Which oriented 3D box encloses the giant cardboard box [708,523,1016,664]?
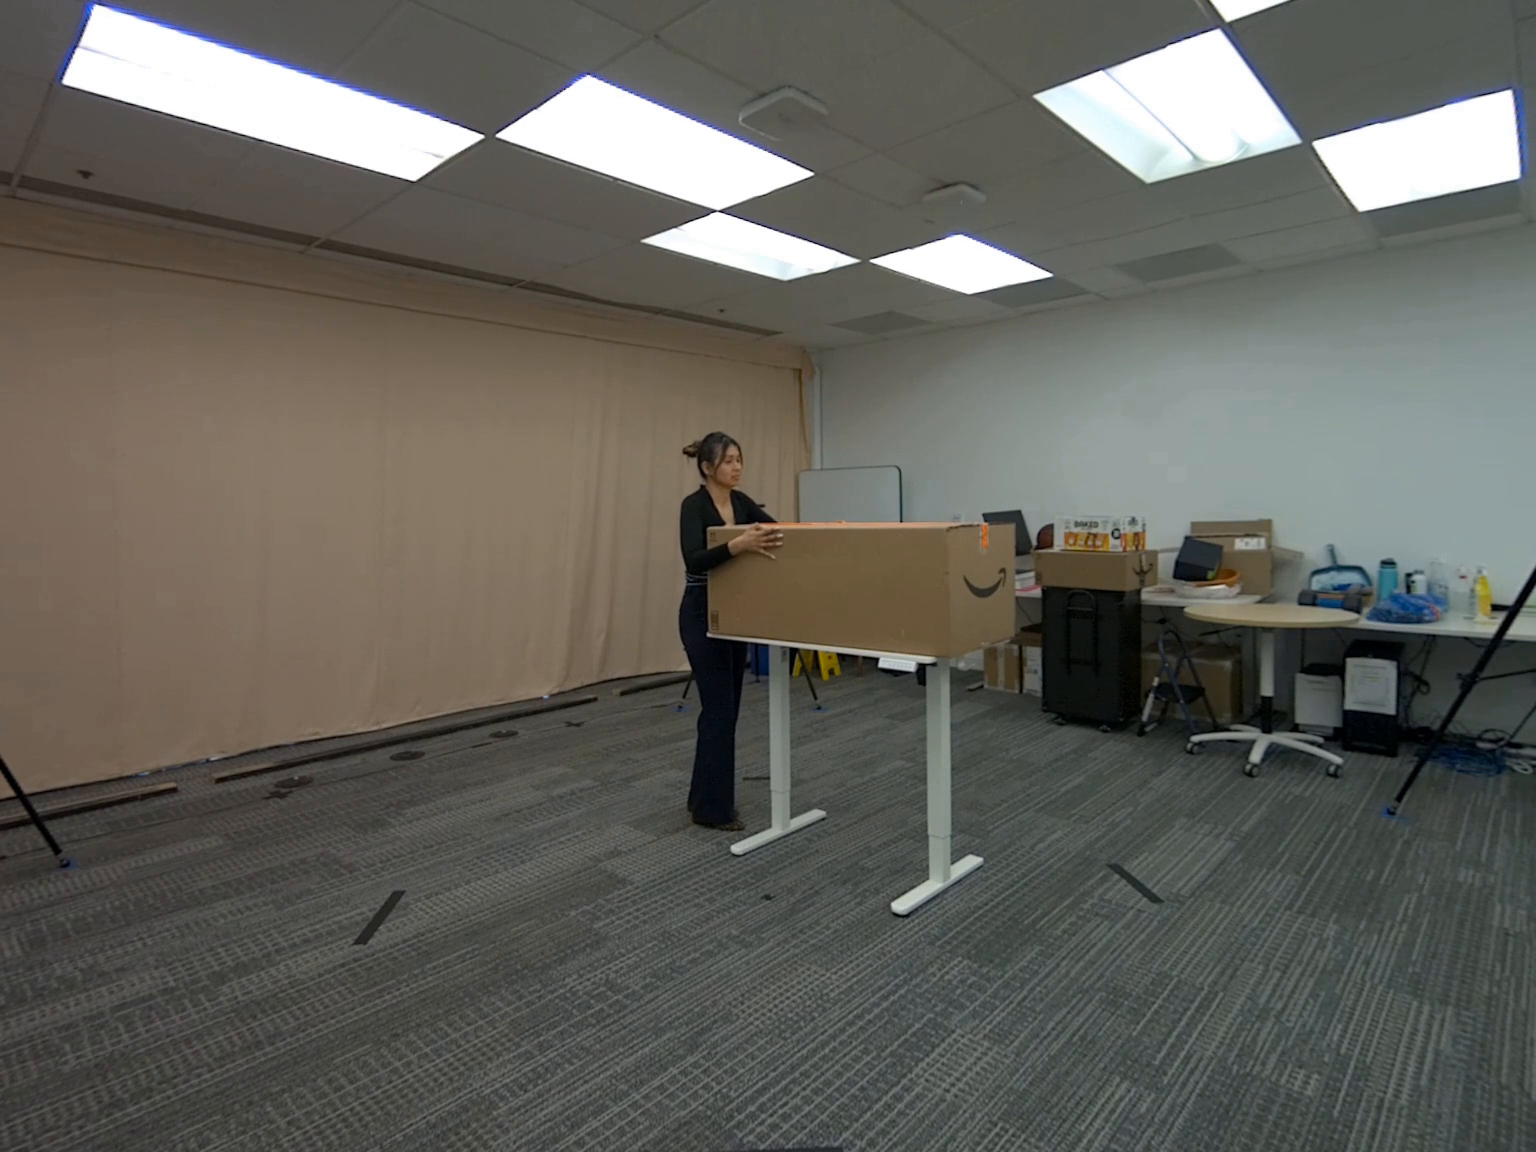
[{"bbox_3d":[0.339,0.023,3.222,1.059,0.425,0.560,2,4,39],"label":"giant cardboard box"}]
